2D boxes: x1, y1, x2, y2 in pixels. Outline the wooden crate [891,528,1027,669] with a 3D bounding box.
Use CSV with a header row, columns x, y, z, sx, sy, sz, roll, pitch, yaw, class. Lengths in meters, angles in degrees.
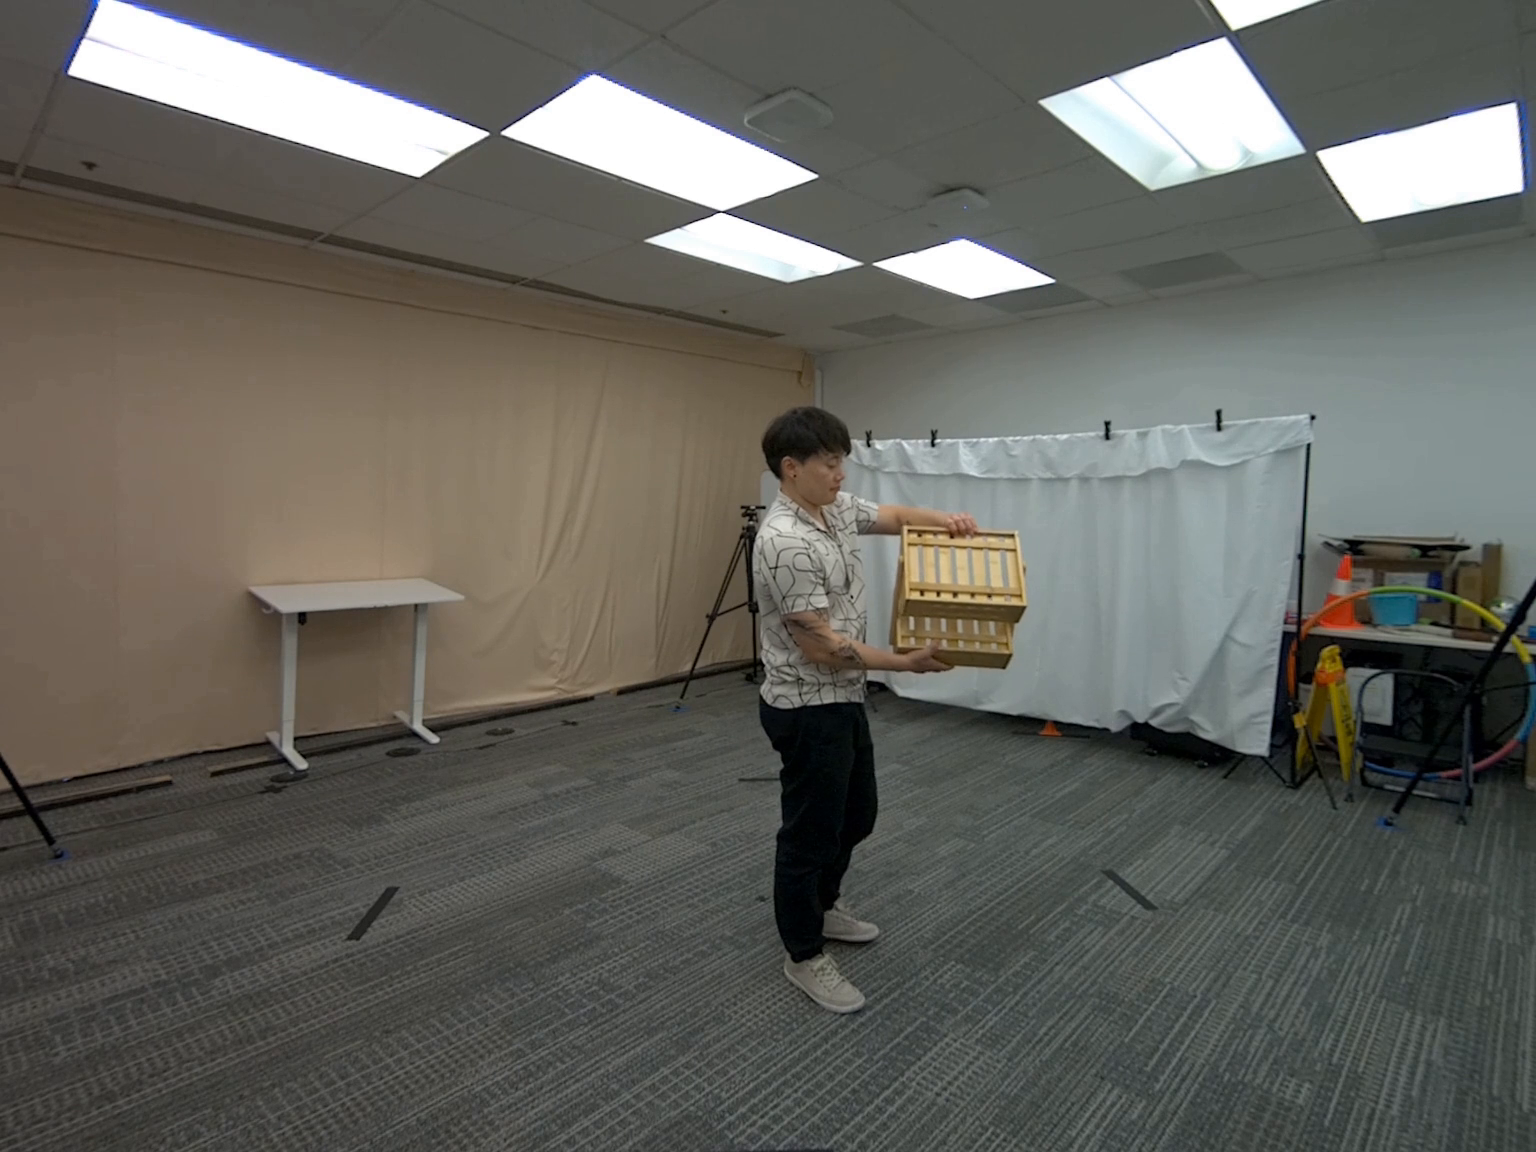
x,y,z,sx,sy,sz,roll,pitch,yaw,class
0.520,0.049,2.285,0.326,0.306,0.268,3,-34,4,wooden crate
